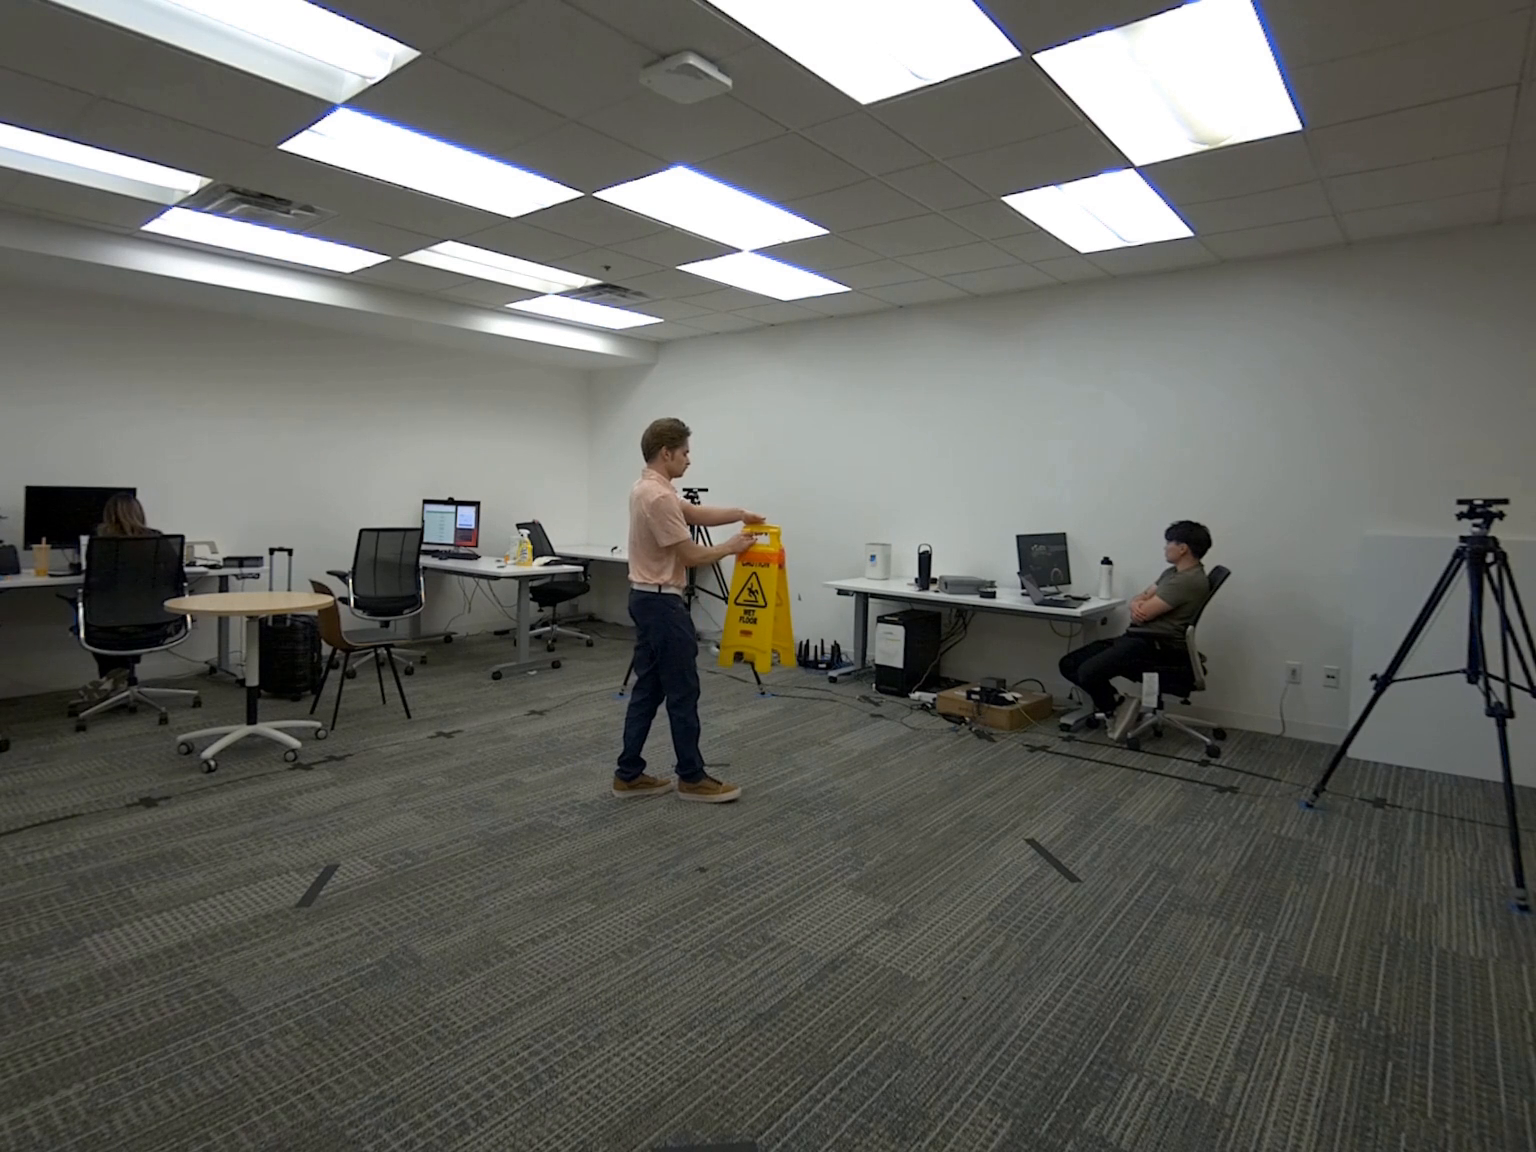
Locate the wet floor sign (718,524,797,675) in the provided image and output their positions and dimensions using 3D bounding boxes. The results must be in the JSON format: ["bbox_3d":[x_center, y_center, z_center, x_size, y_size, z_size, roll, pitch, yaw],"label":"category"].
[{"bbox_3d":[-0.054,0.091,3.916,0.291,0.645,0.281,3,1,32],"label":"wet floor sign"}]
